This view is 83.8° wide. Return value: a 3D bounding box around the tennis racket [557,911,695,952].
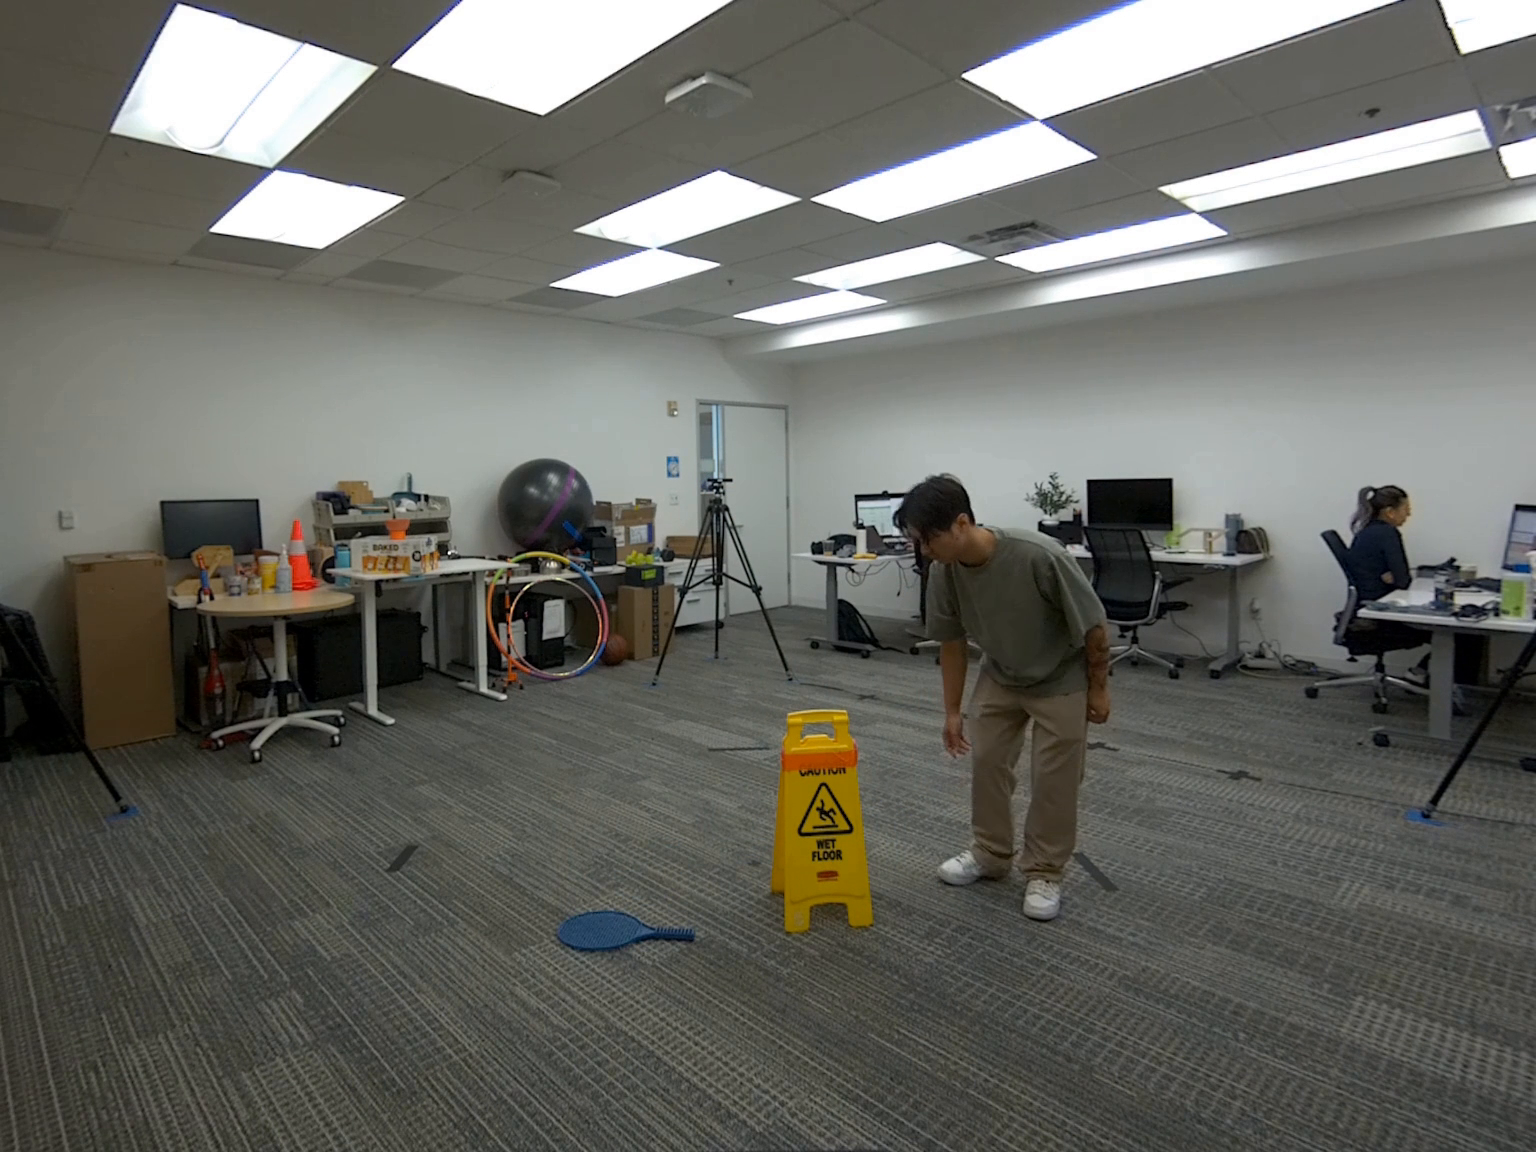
[{"bbox_3d":[-0.432,1.094,2.632,0.436,0.031,0.213,0,8,8],"label":"tennis racket"}]
